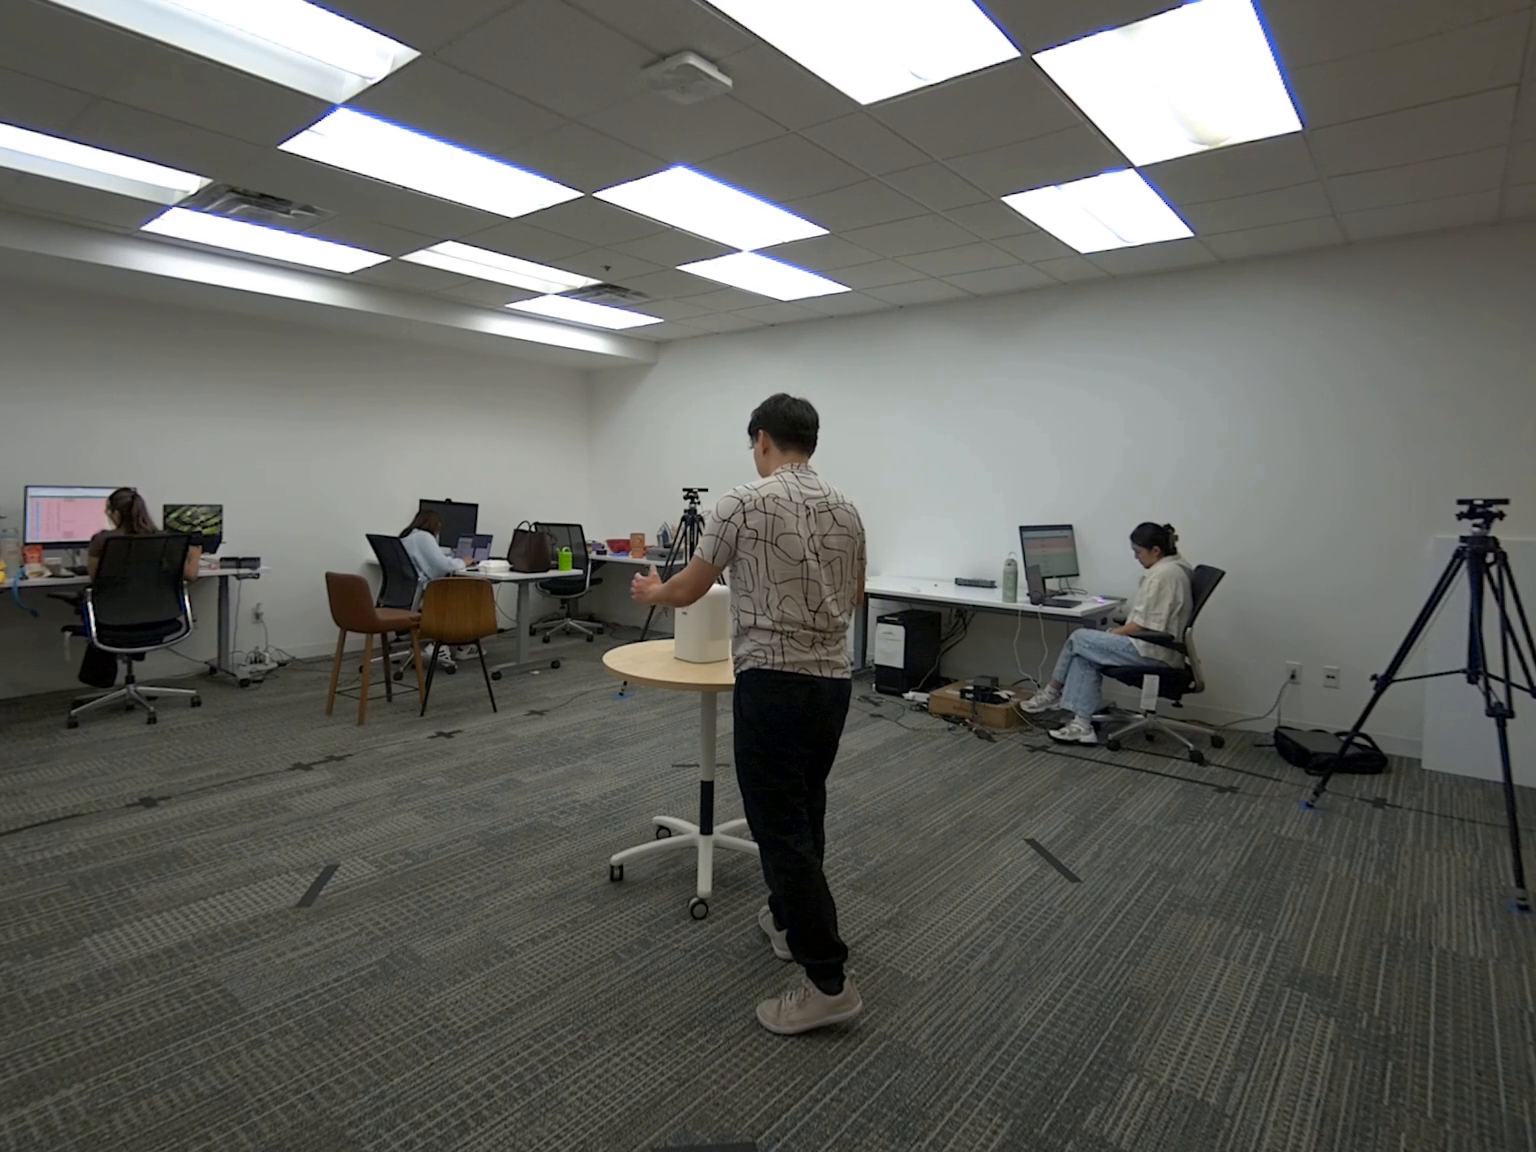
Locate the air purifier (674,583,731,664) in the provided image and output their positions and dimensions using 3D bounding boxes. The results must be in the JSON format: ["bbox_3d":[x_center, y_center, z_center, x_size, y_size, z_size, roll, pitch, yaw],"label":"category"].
[{"bbox_3d":[-0.246,0.159,3.053,0.166,0.265,0.177,-1,4,-44],"label":"air purifier"}]
